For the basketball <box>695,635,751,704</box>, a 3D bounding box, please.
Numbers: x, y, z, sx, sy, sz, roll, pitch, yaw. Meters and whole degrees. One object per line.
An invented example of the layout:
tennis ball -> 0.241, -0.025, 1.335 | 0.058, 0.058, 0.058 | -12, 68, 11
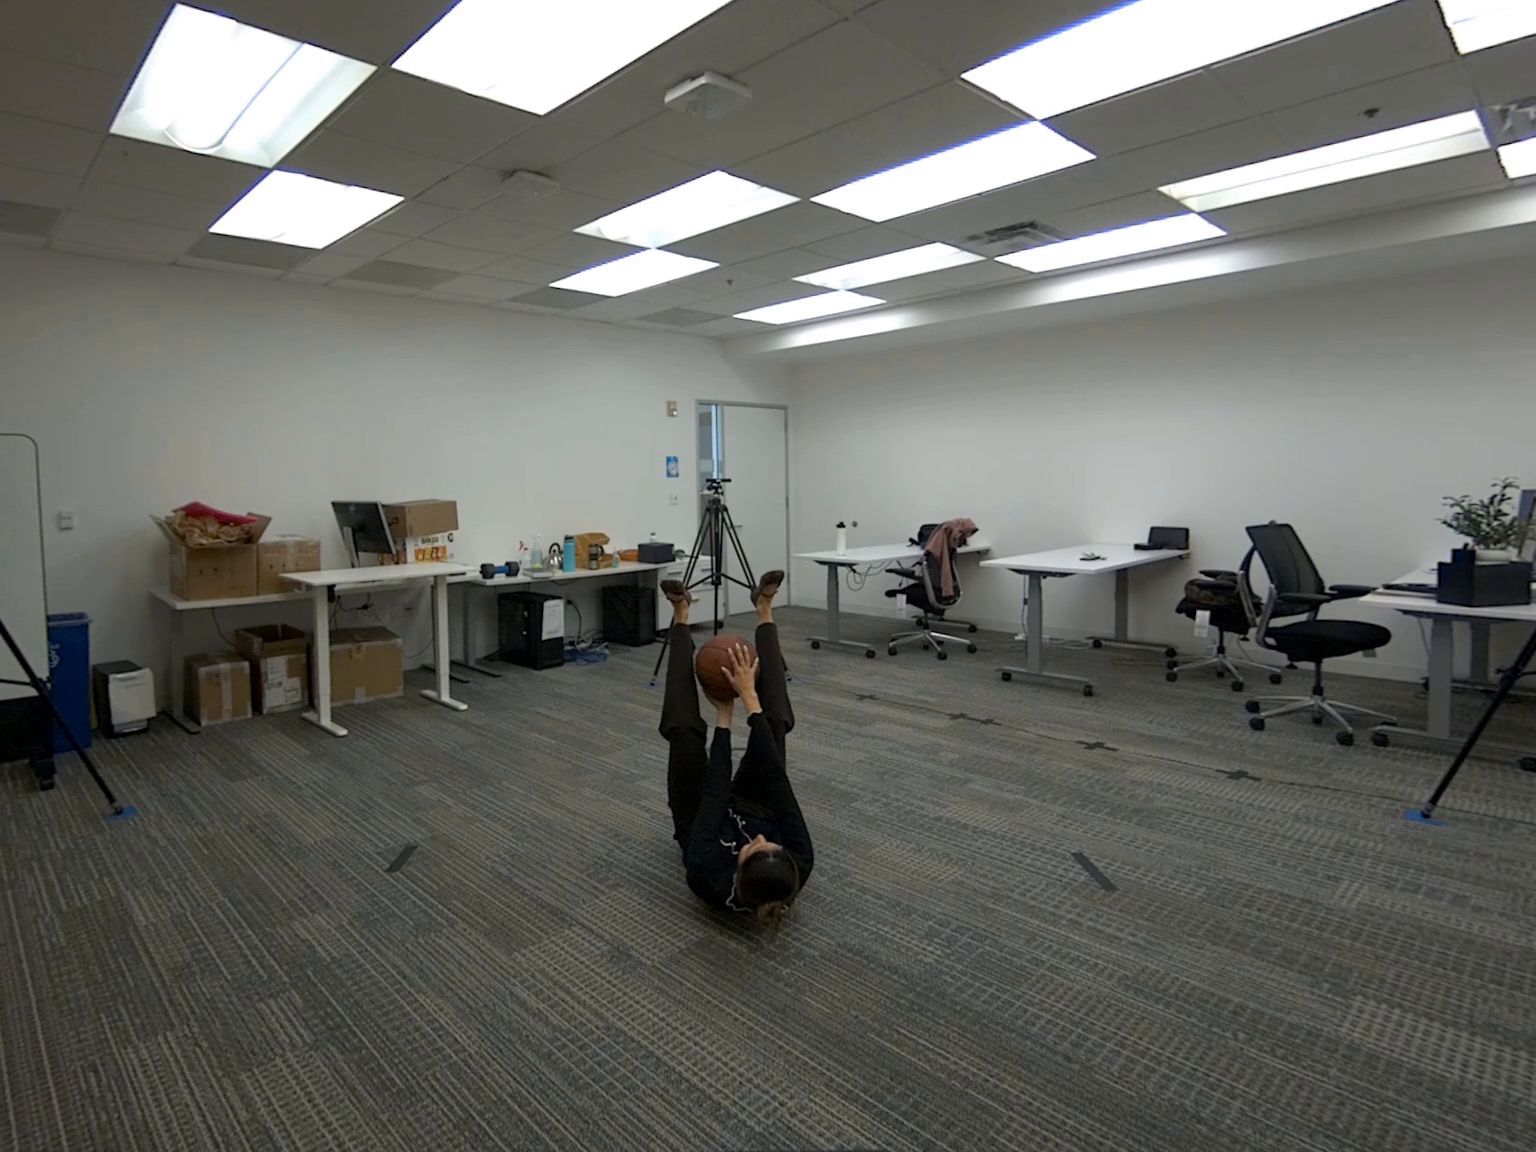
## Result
basketball -> -0.144, 0.326, 3.108 | 0.236, 0.235, 0.237 | -1, 5, -2
